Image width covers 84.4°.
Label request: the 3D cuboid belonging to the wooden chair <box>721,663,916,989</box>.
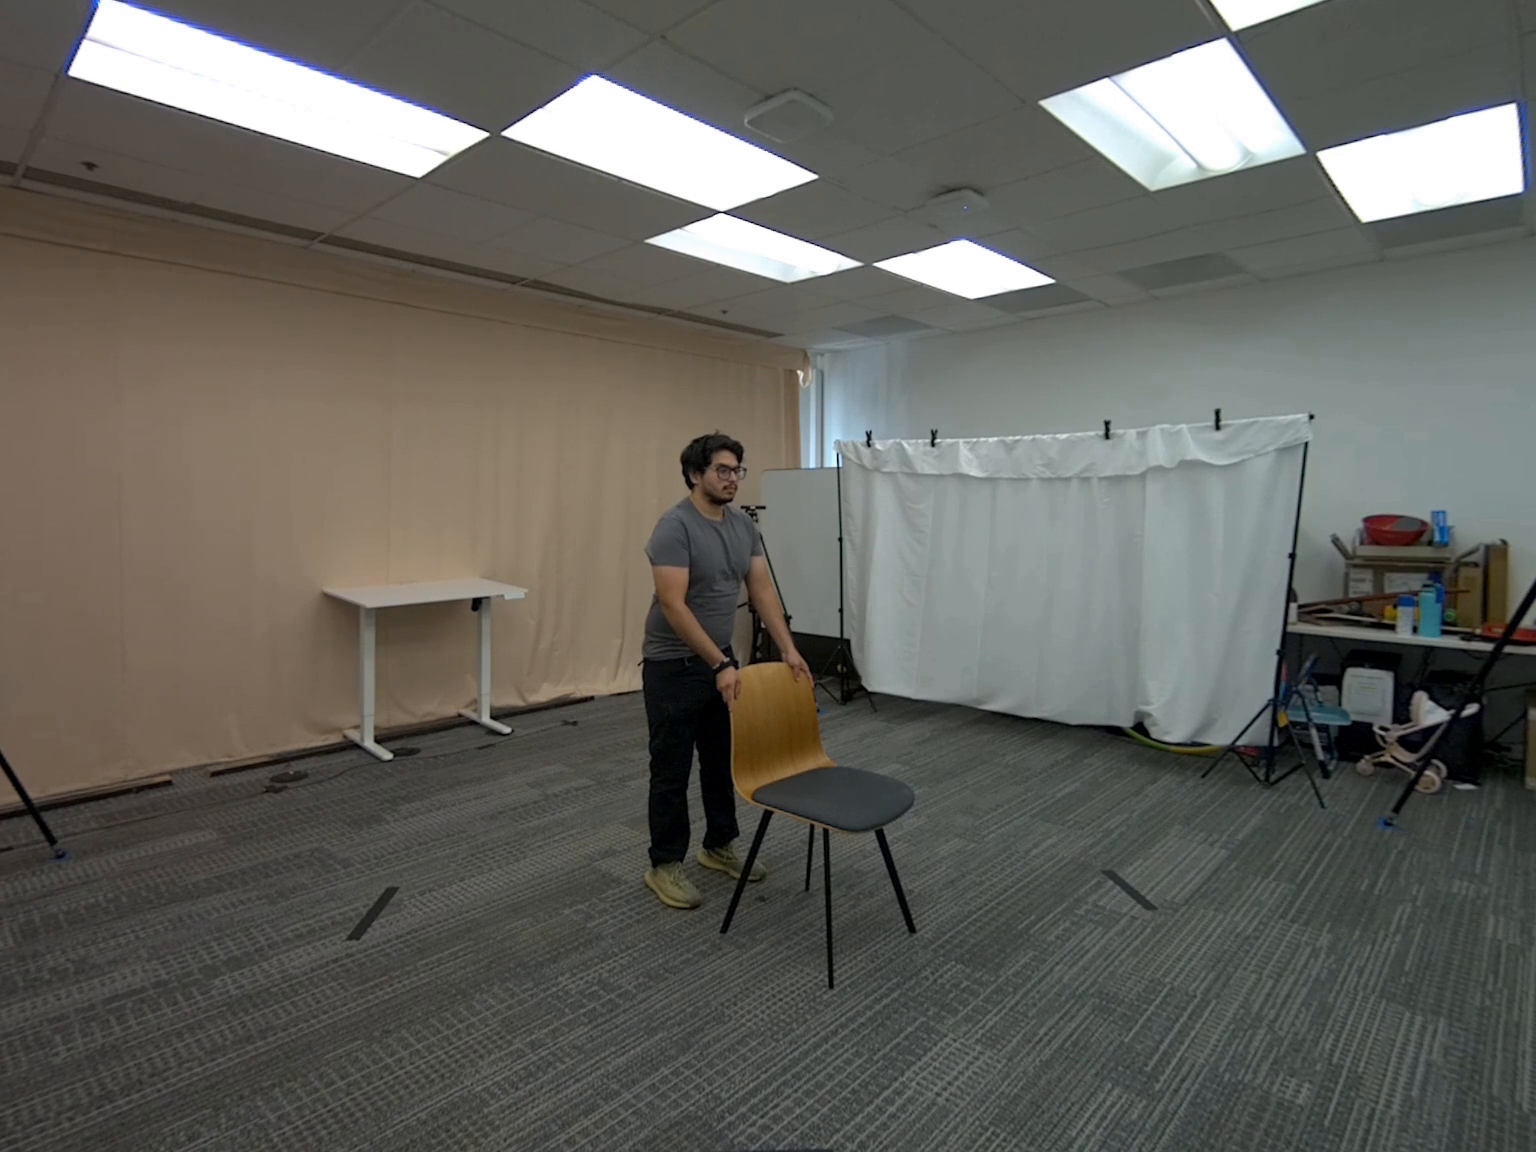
[{"bbox_3d":[0.175,0.738,2.703,0.539,0.877,0.463,-3,0,43],"label":"wooden chair"}]
